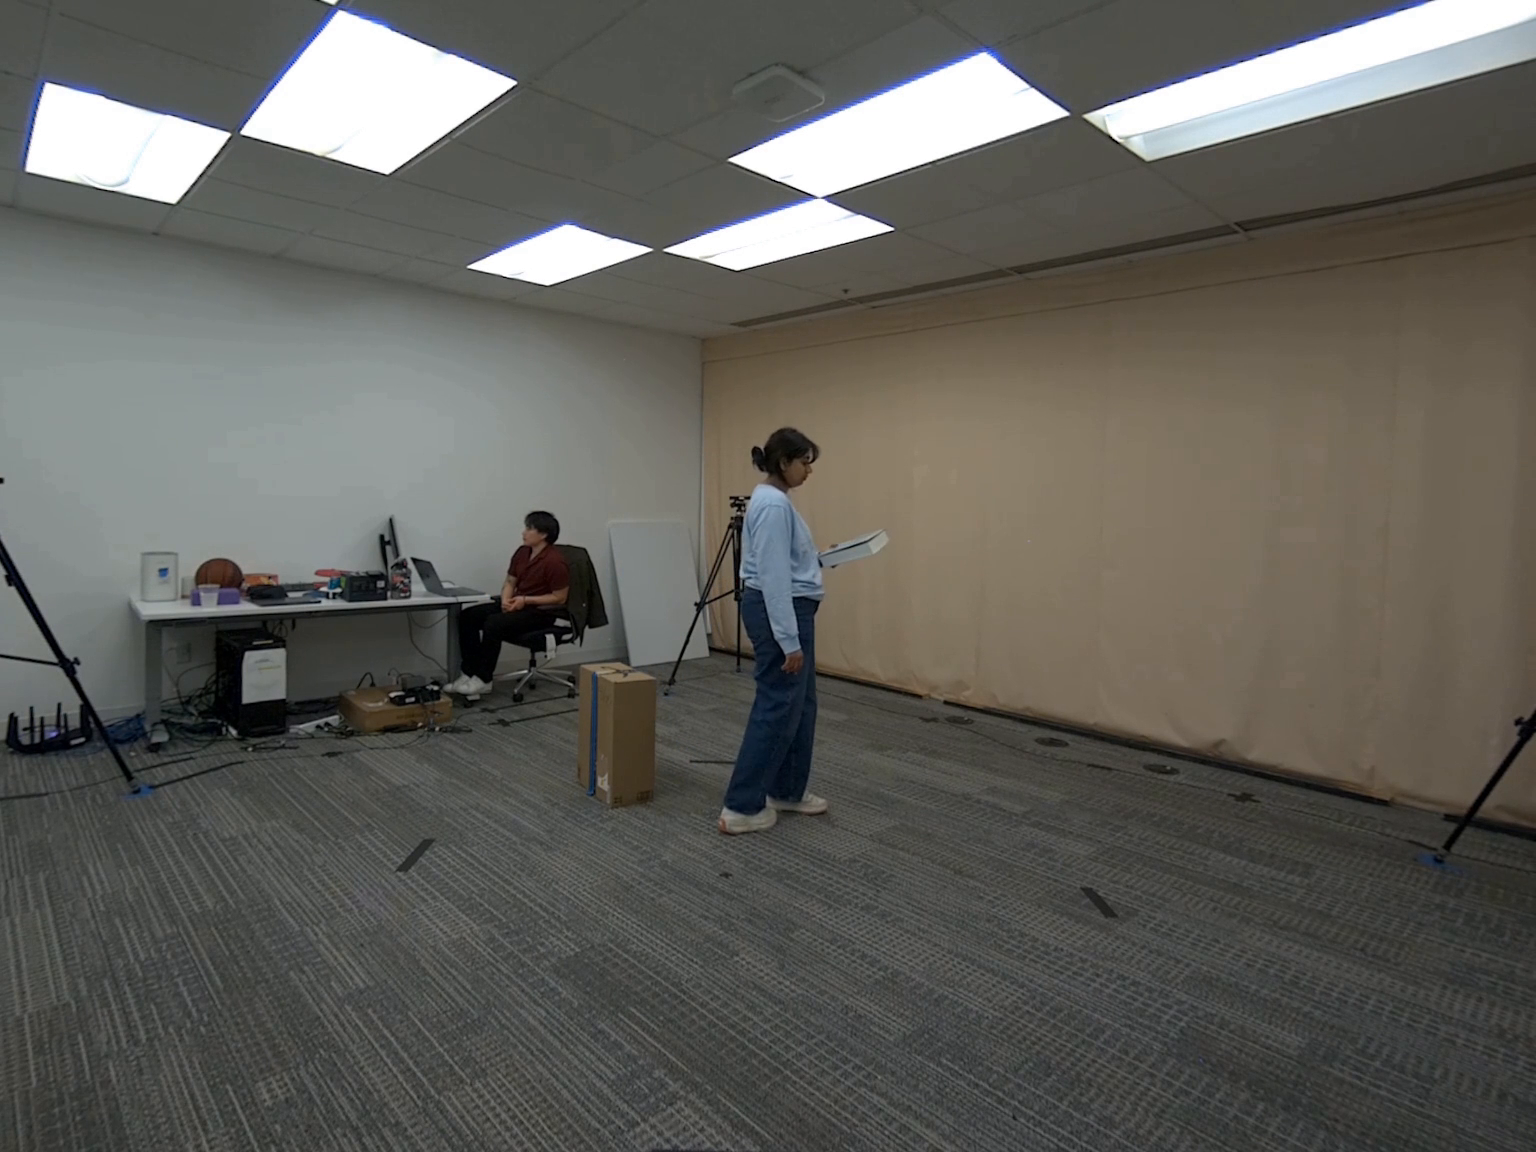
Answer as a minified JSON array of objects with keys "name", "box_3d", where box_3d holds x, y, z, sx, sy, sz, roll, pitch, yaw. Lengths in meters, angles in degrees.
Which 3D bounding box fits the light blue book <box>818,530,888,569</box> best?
[{"name":"light blue book","box_3d":[0.366,-0.120,3.693,0.265,0.058,0.190,-16,10,35]}]
